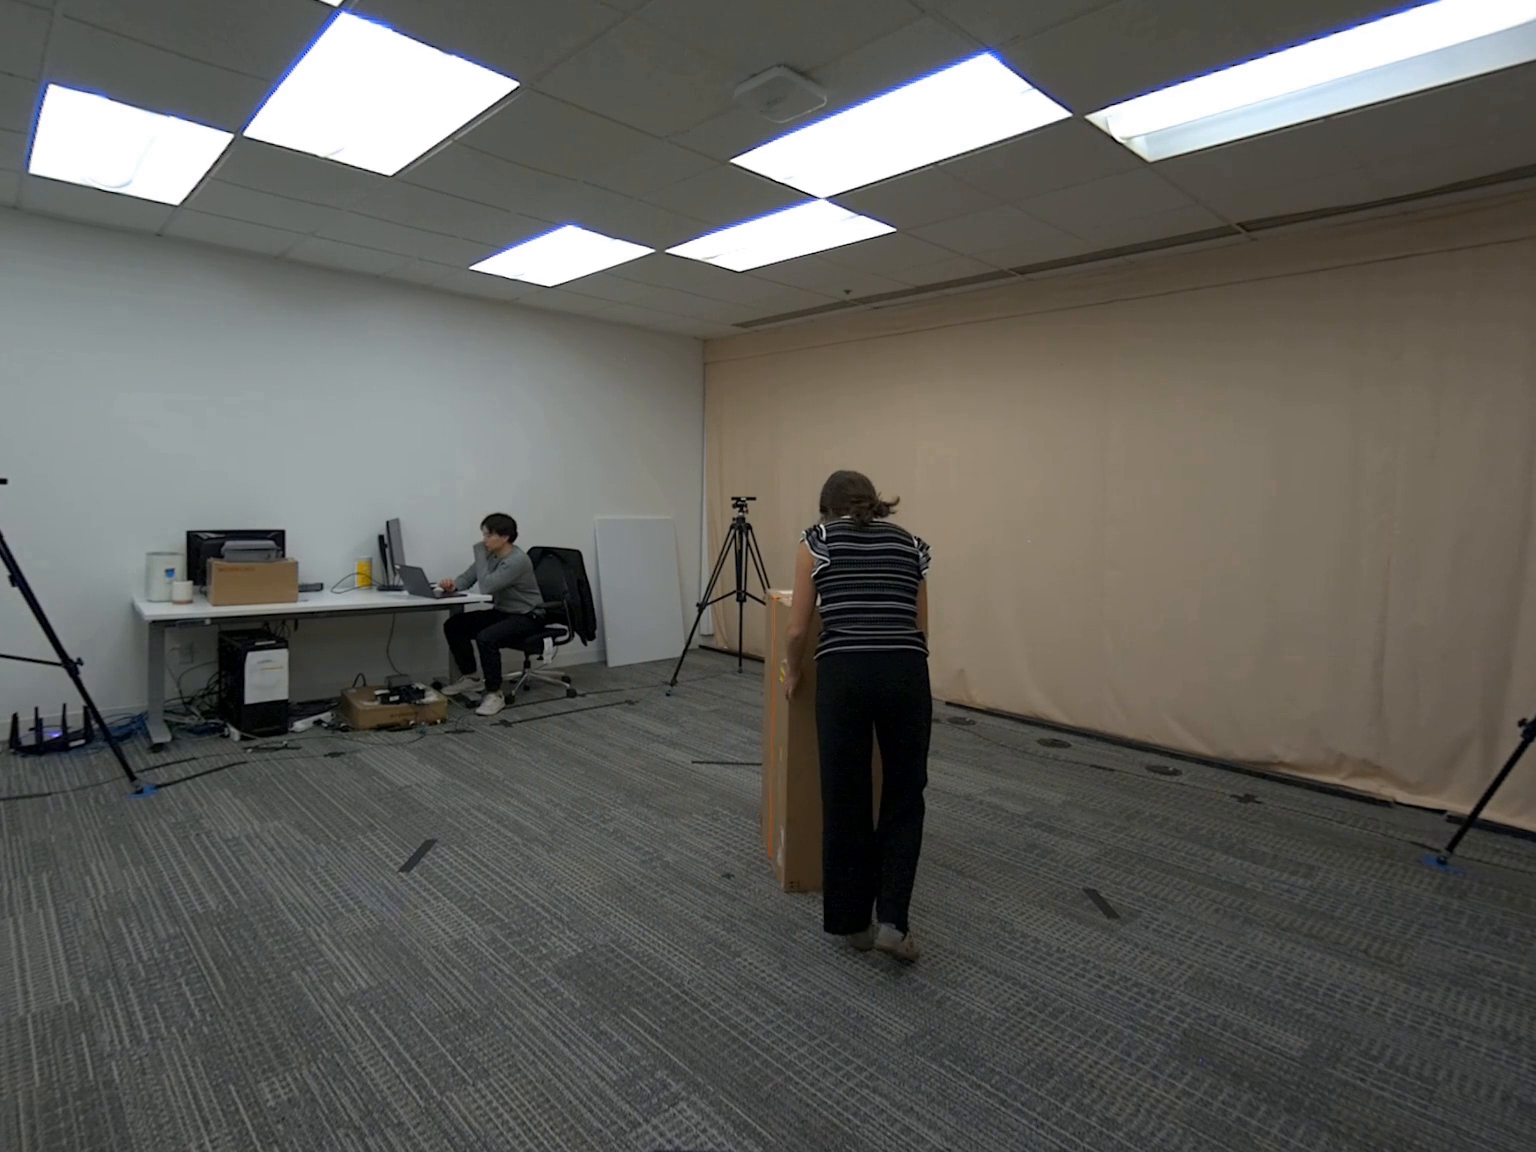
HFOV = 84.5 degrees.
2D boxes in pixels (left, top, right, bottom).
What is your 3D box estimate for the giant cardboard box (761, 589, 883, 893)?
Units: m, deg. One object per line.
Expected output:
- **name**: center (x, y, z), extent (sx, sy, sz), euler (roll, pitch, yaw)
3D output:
- **giant cardboard box**: center (0.219, 0.591, 3.257), extent (0.423, 1.023, 0.583), euler (1, 3, -9)
